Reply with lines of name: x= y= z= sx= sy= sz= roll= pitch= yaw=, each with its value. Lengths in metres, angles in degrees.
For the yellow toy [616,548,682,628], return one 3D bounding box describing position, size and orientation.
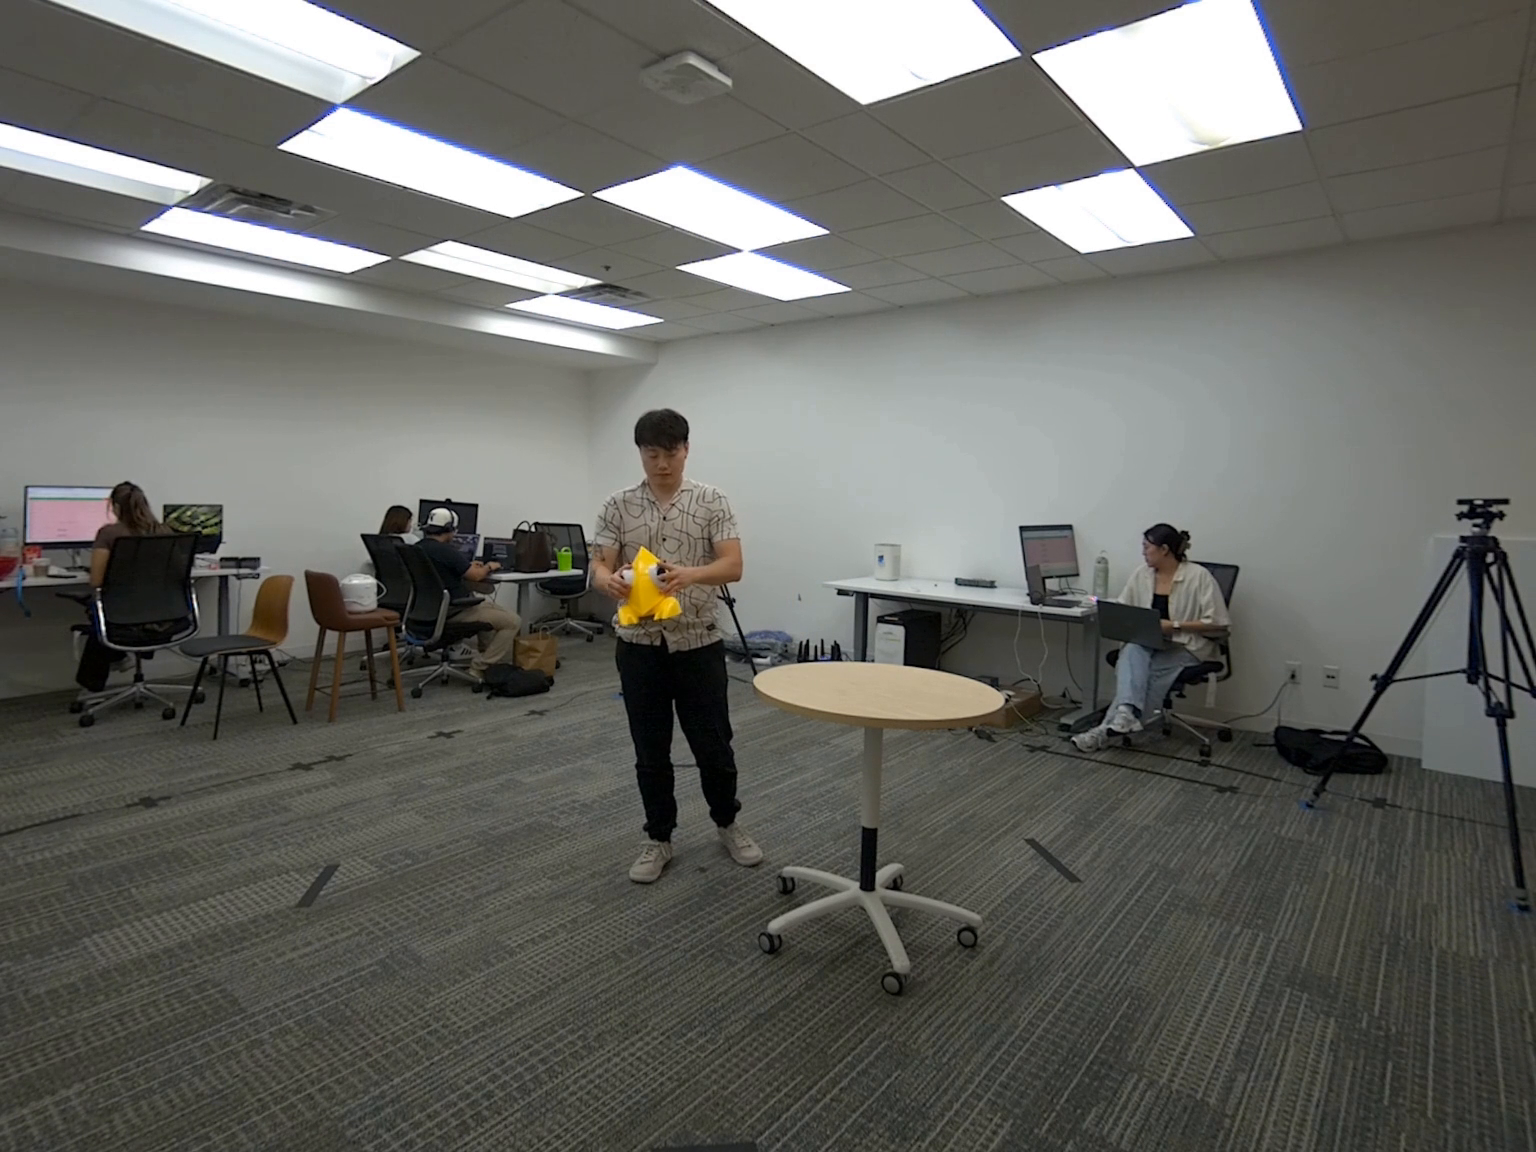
yellow toy: x=-0.413 y=0.021 z=2.723 sx=0.206 sy=0.230 sz=0.192 roll=-11 pitch=2 yaw=8
